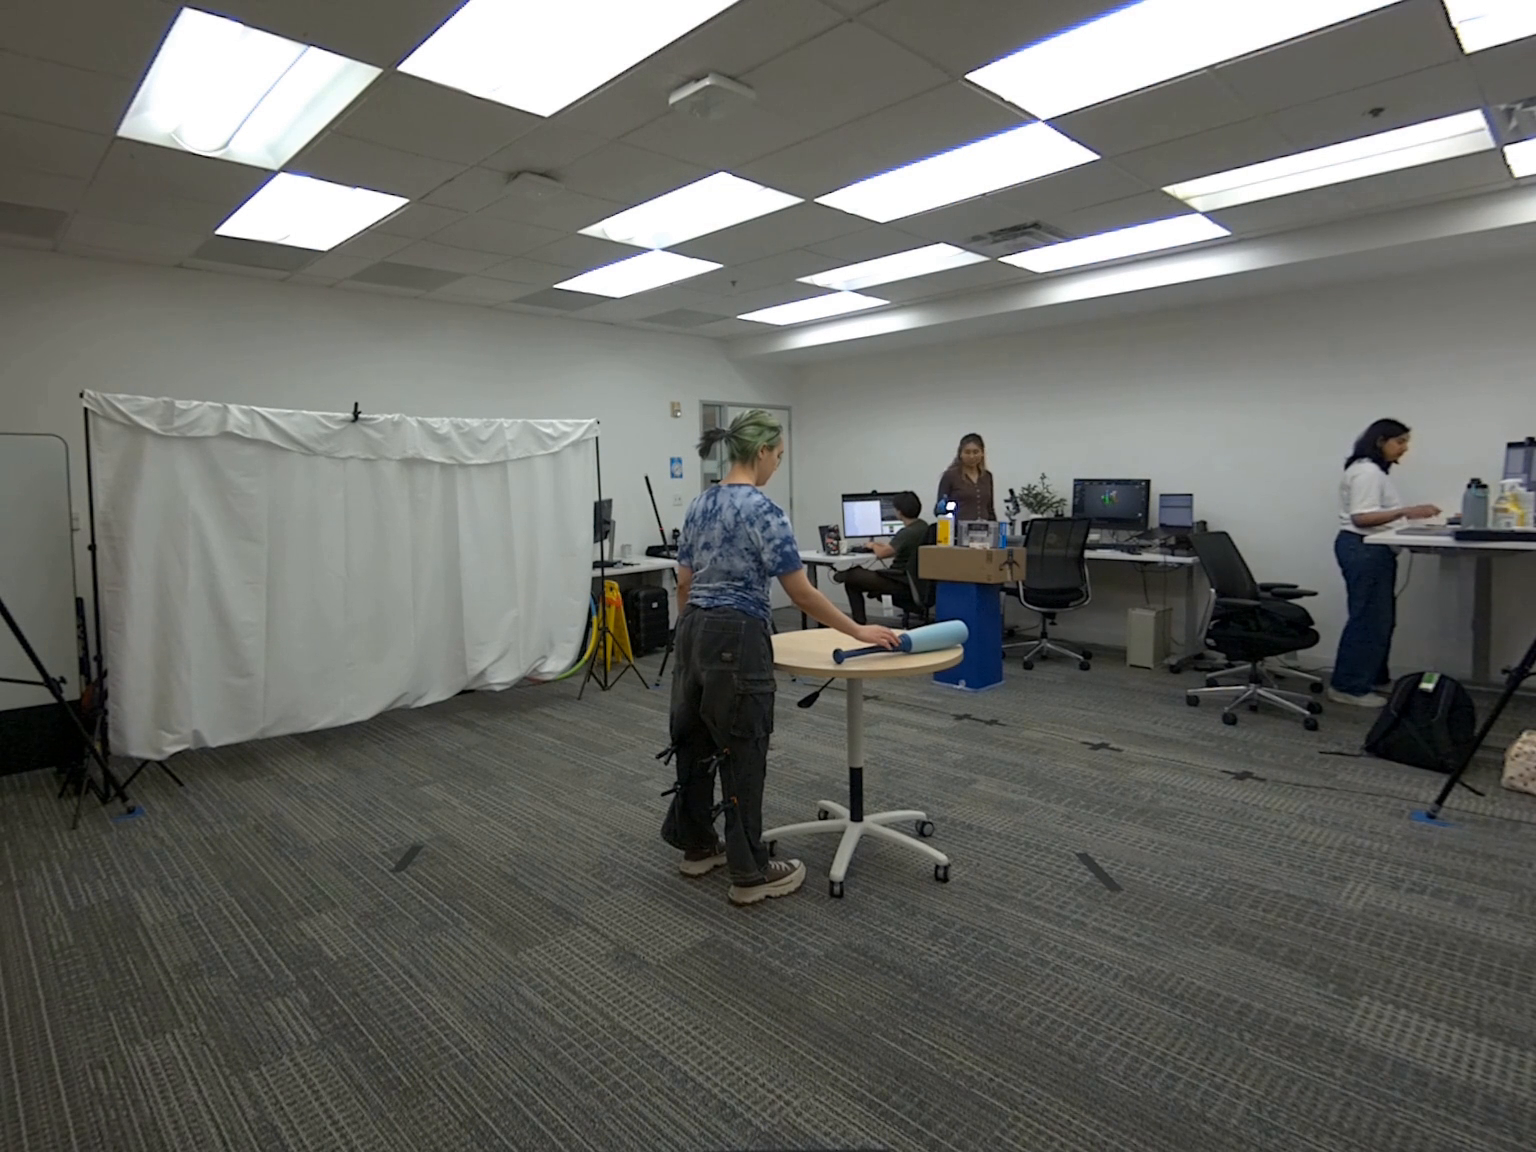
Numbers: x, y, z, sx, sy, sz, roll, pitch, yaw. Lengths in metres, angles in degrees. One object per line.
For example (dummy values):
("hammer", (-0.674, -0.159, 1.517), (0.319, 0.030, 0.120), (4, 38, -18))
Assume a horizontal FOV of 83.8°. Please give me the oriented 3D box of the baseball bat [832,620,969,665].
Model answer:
("baseball bat", (0.457, 0.238, 2.928), (0.532, 0.088, 0.091), (-9, 8, -25))
